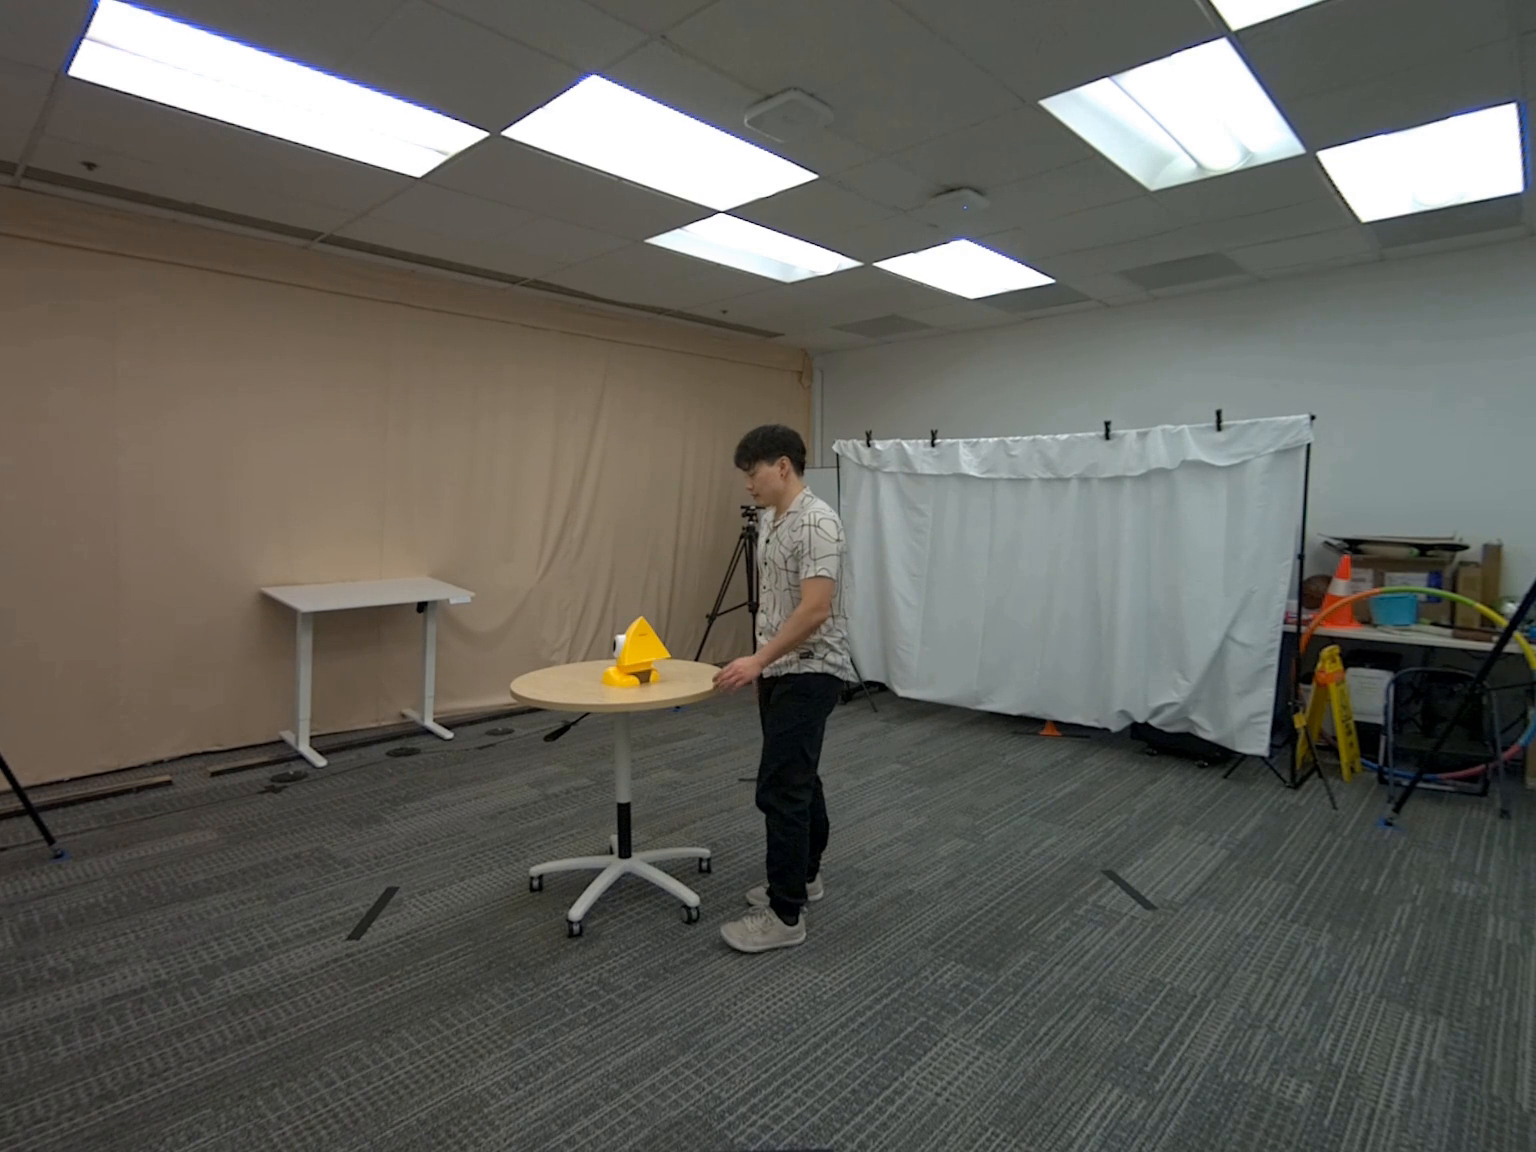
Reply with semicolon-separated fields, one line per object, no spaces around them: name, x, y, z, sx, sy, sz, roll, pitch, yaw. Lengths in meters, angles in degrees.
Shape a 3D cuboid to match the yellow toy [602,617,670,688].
yellow toy;-0.475;0.256;2.944;0.199;0.230;0.198;1;4;44
